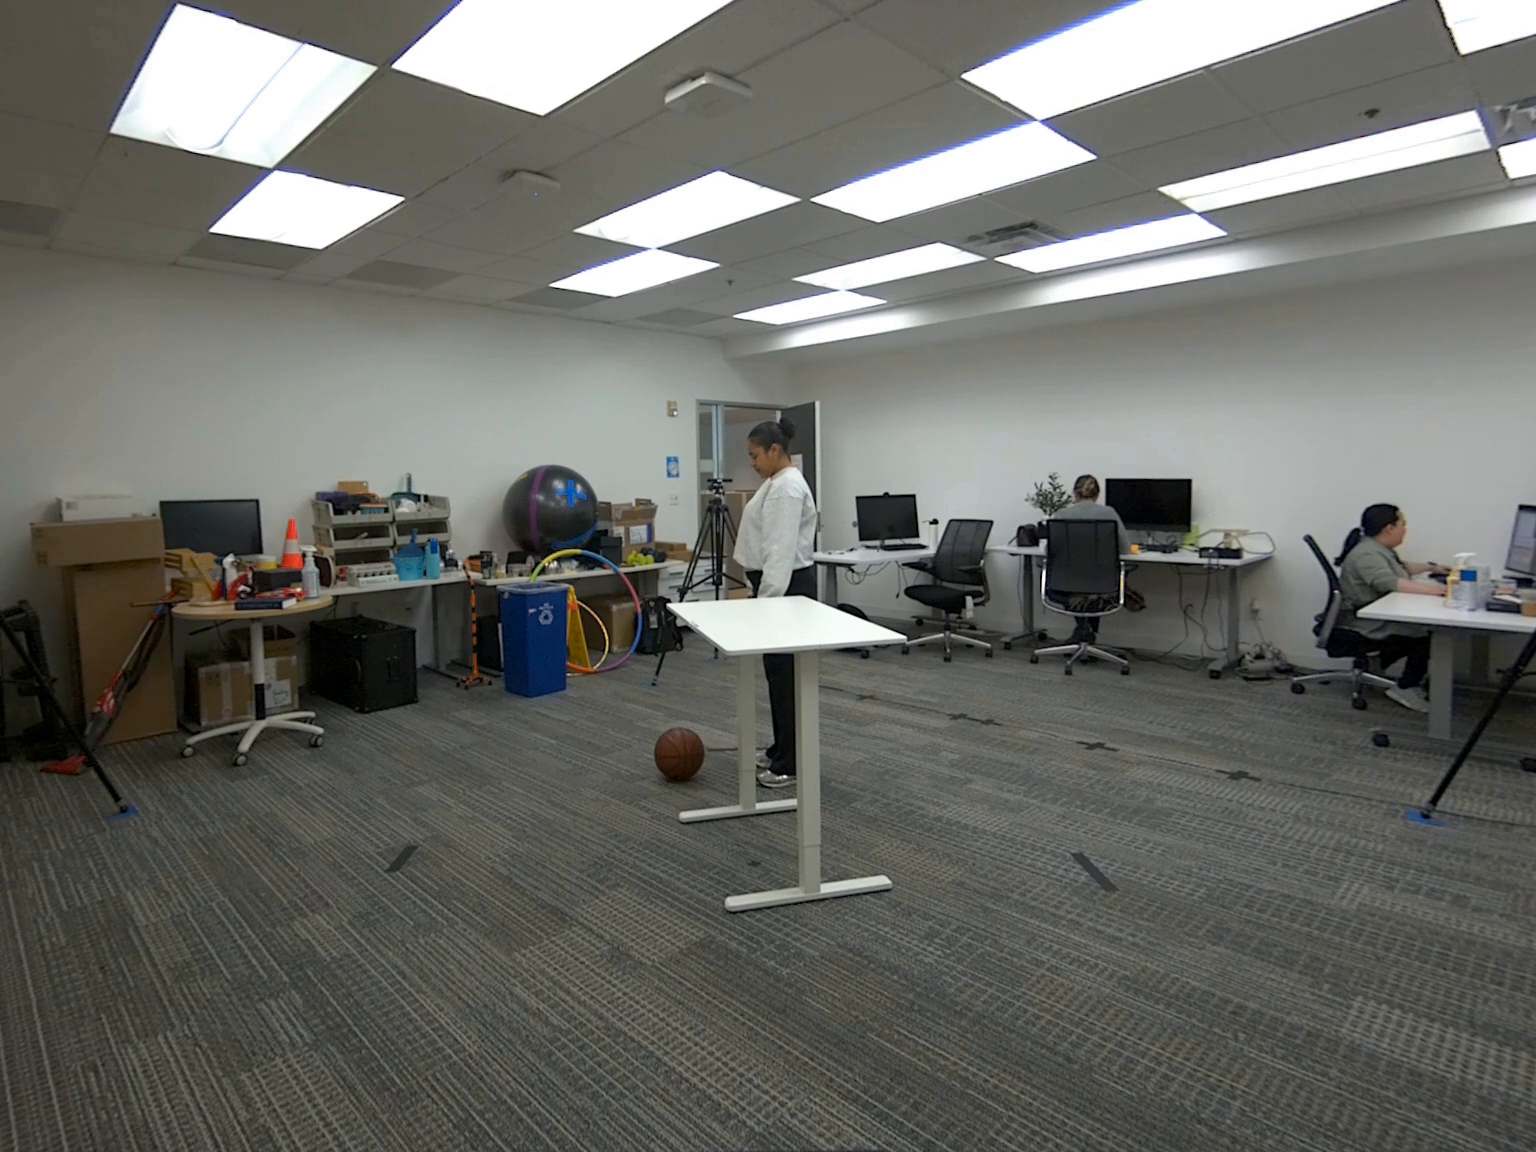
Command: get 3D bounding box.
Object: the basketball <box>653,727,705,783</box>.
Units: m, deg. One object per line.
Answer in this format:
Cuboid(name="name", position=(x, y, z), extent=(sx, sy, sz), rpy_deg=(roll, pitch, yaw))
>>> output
Cuboid(name="basketball", position=(-0.415, 0.831, 4.014), extent=(0.236, 0.235, 0.237), rpy_deg=(-1, 5, -2))
